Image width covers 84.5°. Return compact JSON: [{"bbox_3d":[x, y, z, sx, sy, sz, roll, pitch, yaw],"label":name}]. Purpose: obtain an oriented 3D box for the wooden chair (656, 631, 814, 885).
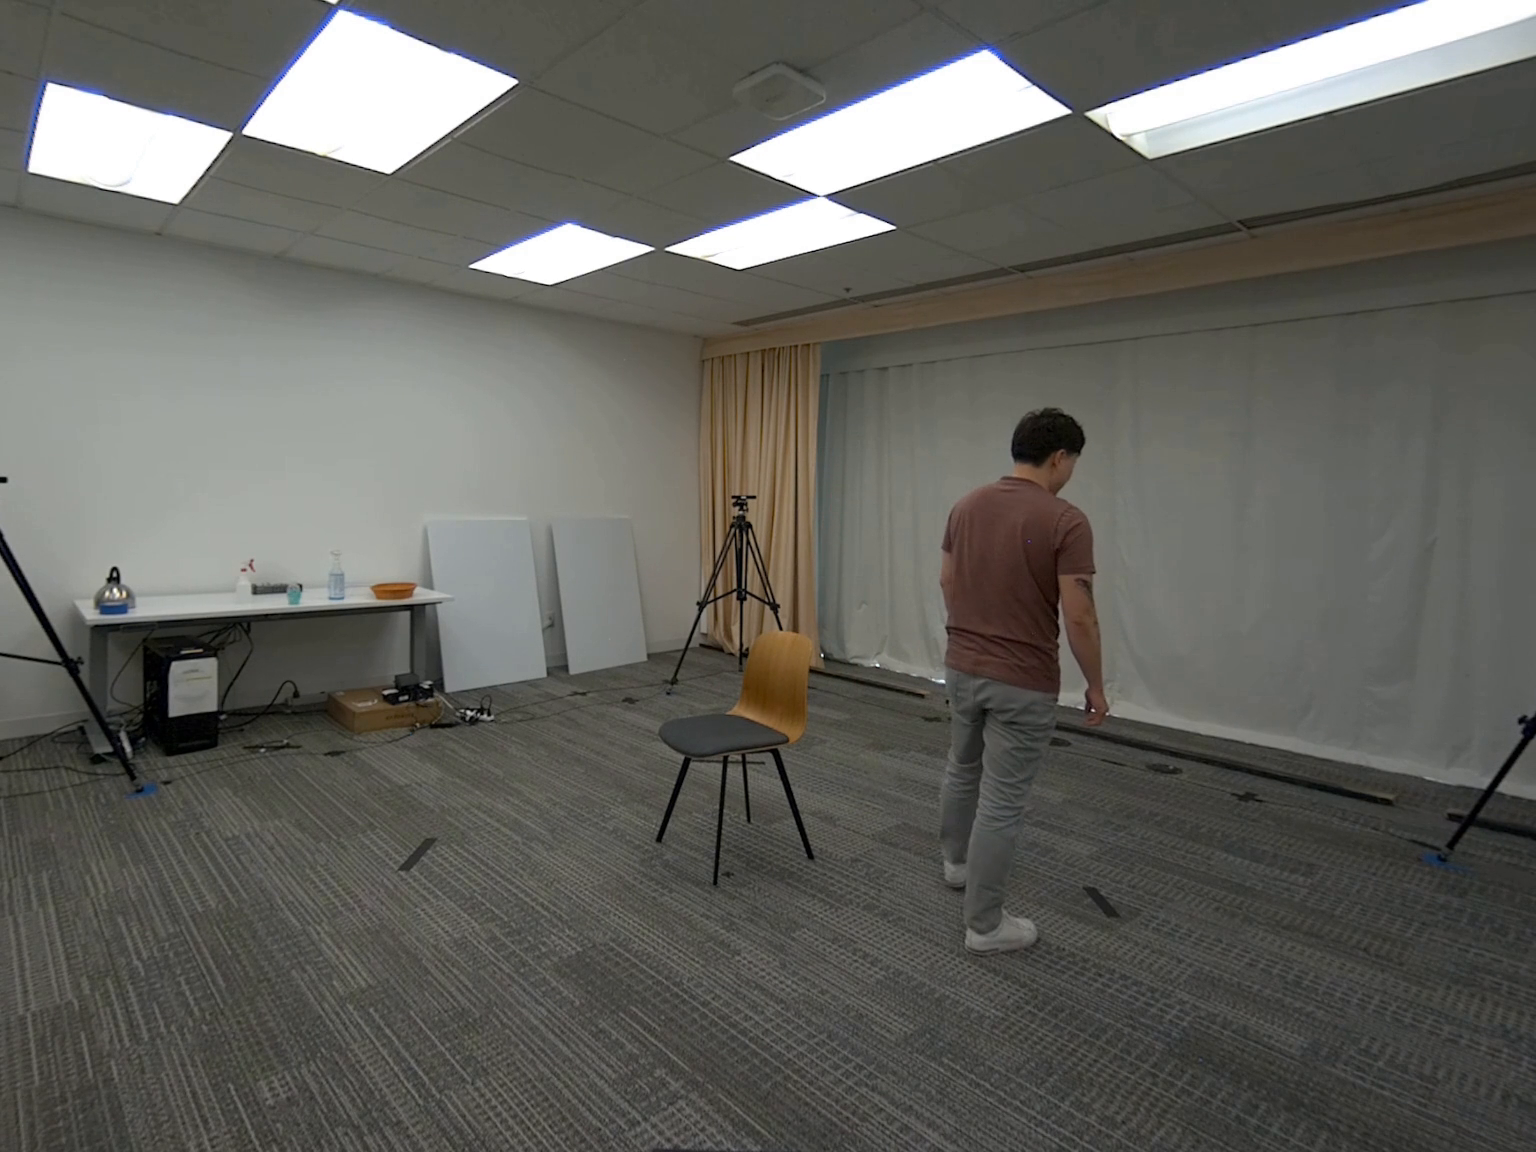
[{"bbox_3d":[-0.138,0.659,3.284,0.511,0.877,0.489,4,1,-34],"label":"wooden chair"}]
